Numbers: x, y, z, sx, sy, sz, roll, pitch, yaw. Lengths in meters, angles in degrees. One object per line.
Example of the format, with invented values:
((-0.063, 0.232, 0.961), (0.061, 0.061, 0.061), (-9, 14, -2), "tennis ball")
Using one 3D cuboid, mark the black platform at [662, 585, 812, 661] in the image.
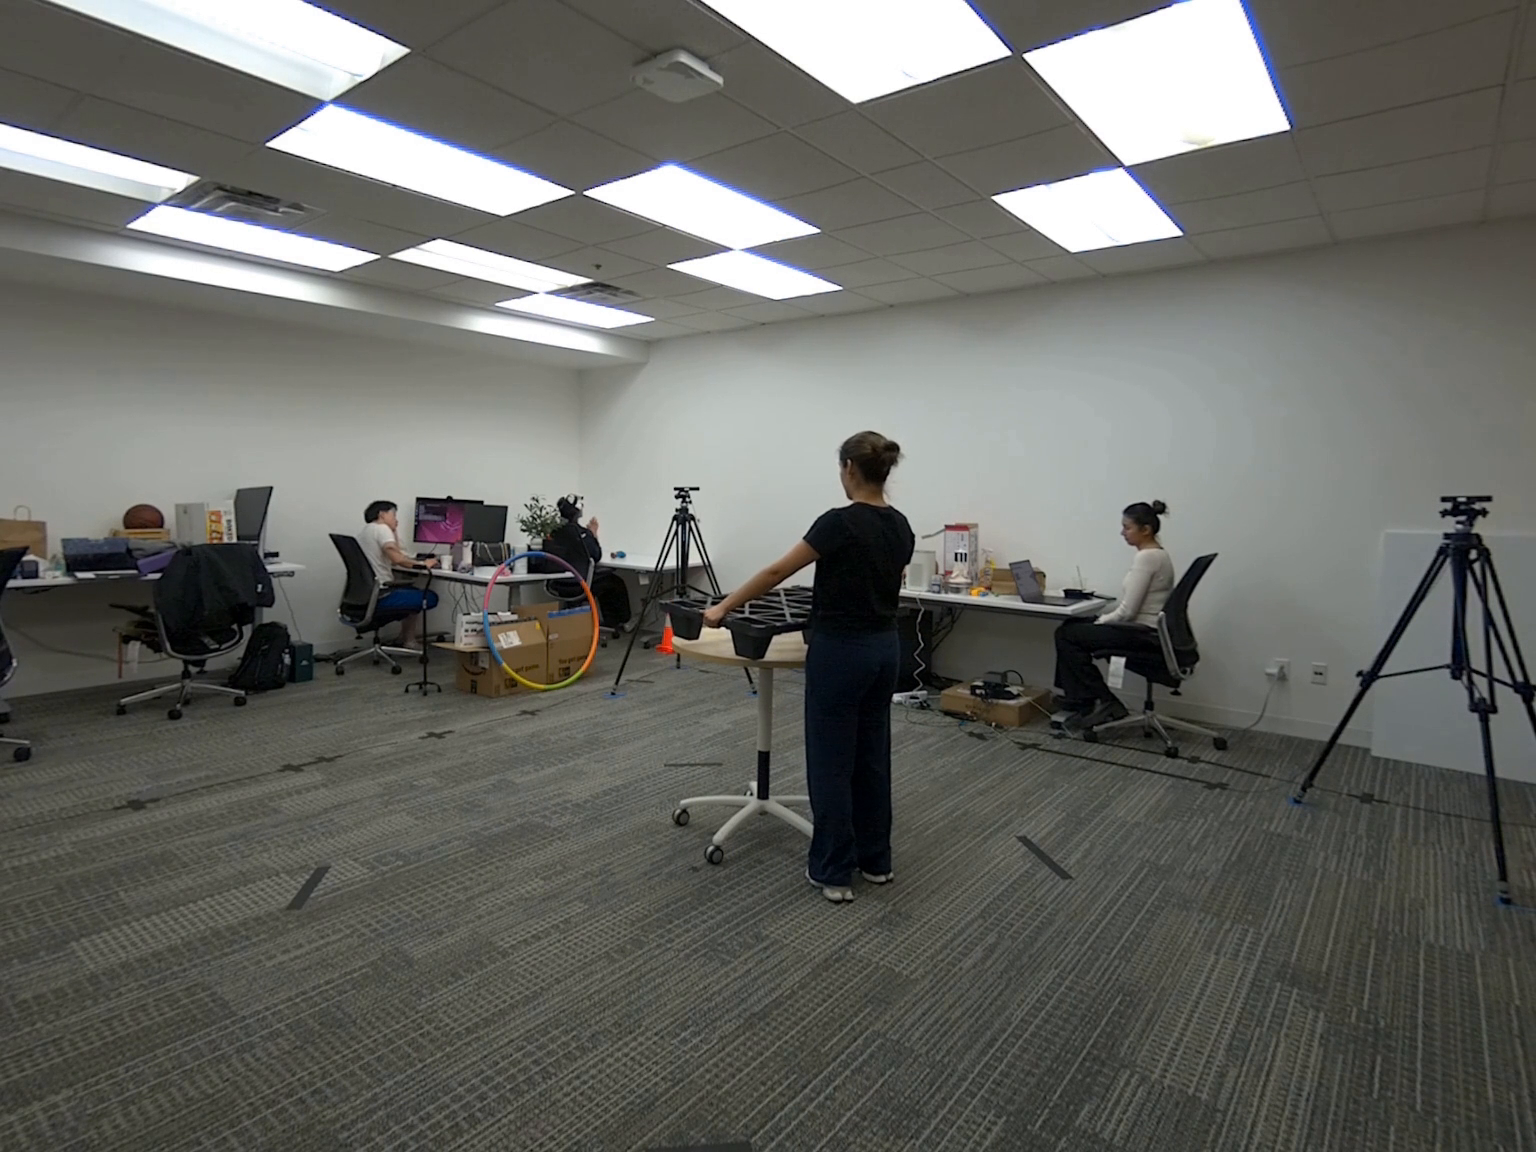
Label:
((0.089, 0.170, 3.325), (0.782, 0.142, 0.627), (-5, 10, -40), "black platform")
